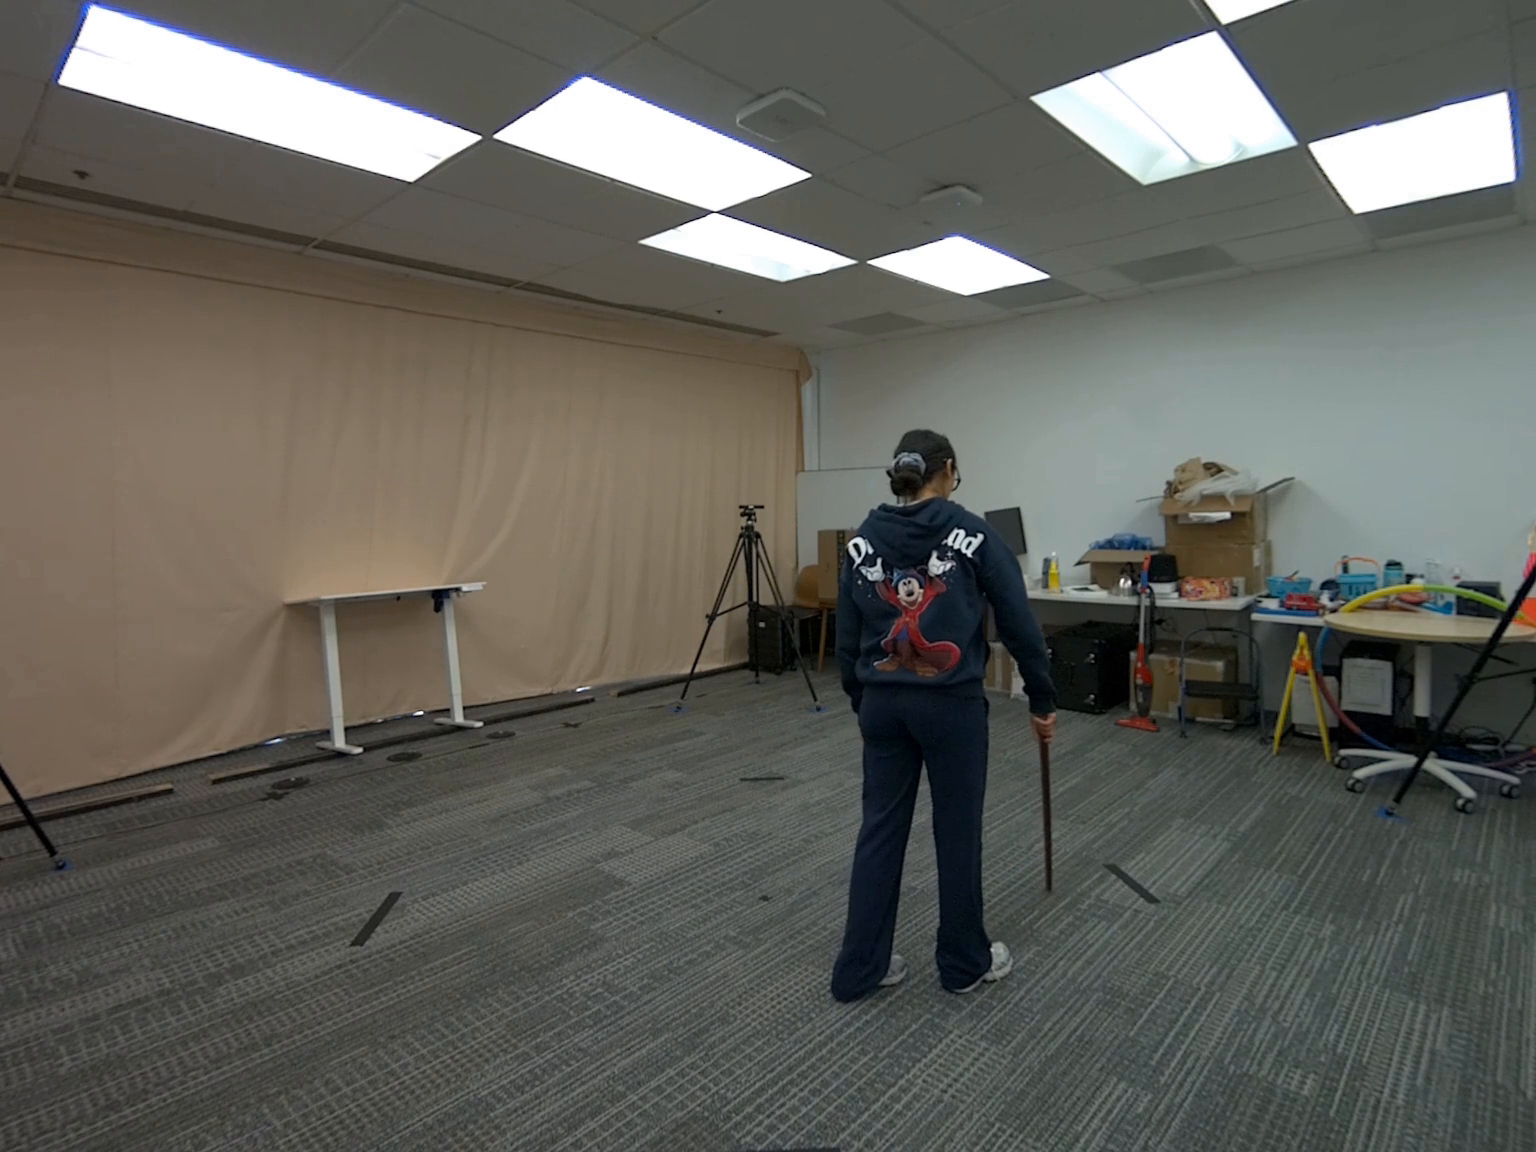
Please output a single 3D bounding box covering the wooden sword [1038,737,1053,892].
[{"bbox_3d":[0.903,0.780,2.684,0.024,0.996,0.053,-24,42,-7],"label":"wooden sword"}]
